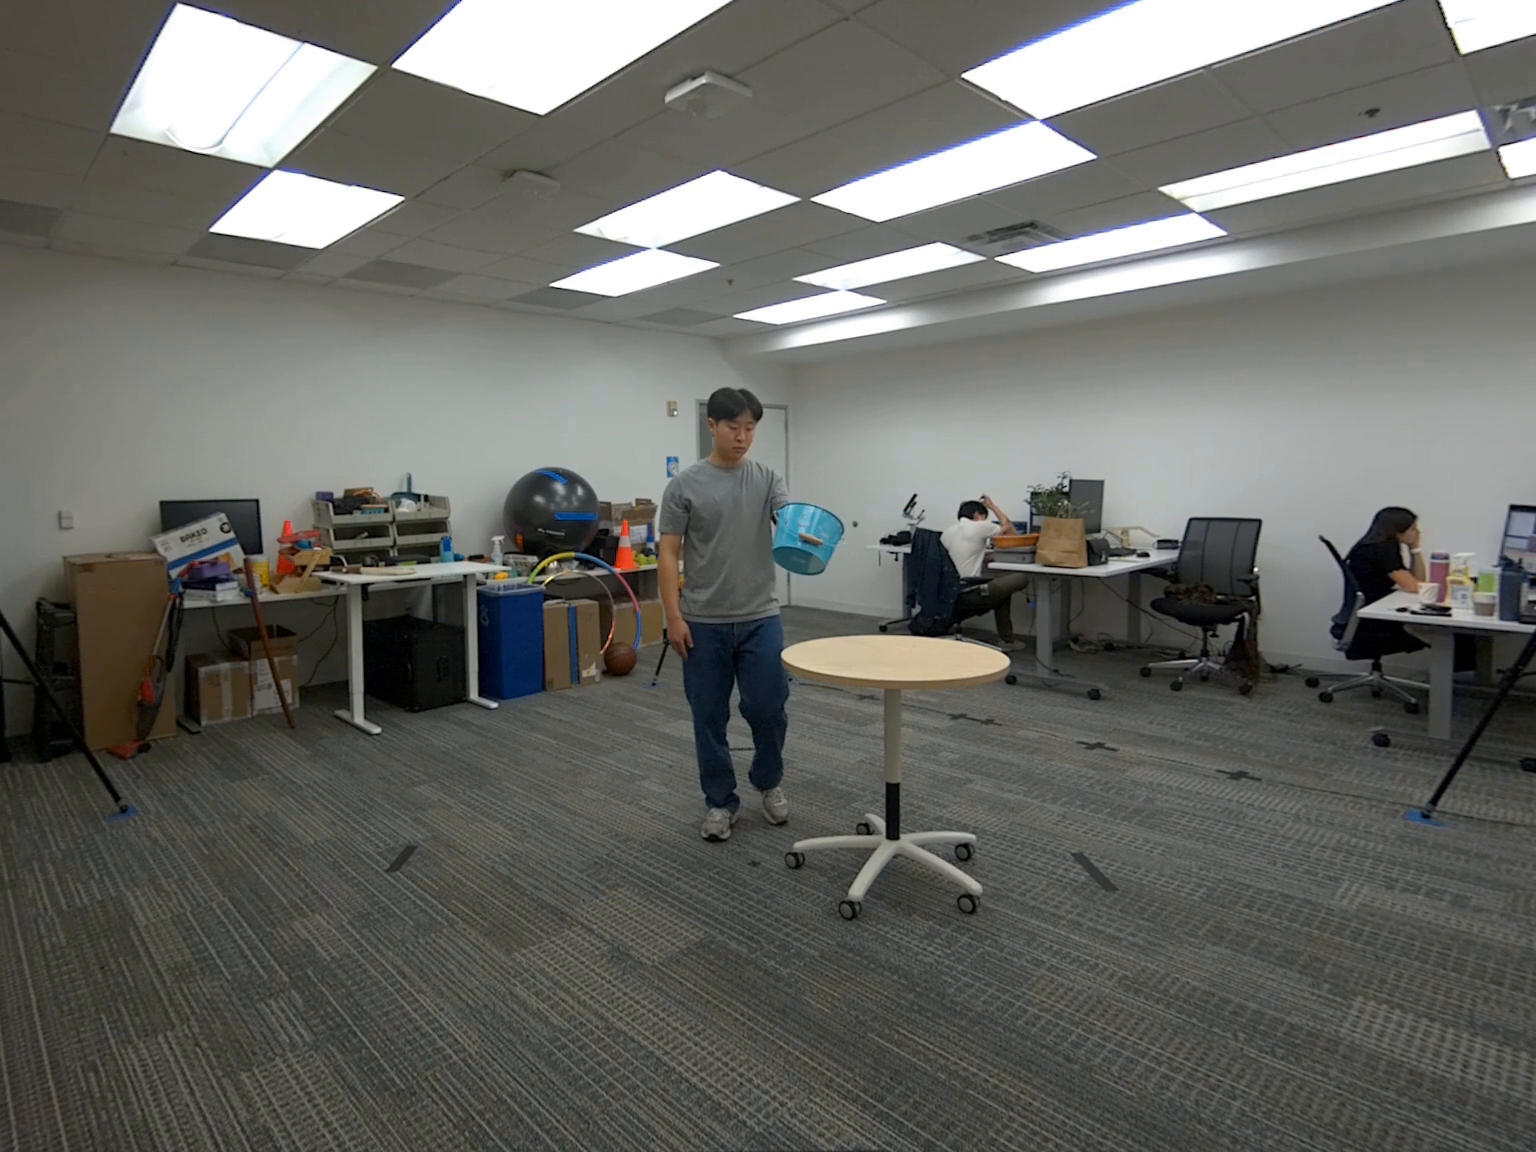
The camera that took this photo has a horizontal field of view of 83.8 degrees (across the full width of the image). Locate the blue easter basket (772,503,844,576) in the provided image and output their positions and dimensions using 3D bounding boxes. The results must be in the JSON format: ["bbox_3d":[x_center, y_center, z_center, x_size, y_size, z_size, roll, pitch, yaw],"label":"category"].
[{"bbox_3d":[0.137,-0.110,2.779,0.245,0.158,0.238,14,-25,5],"label":"blue easter basket"}]
